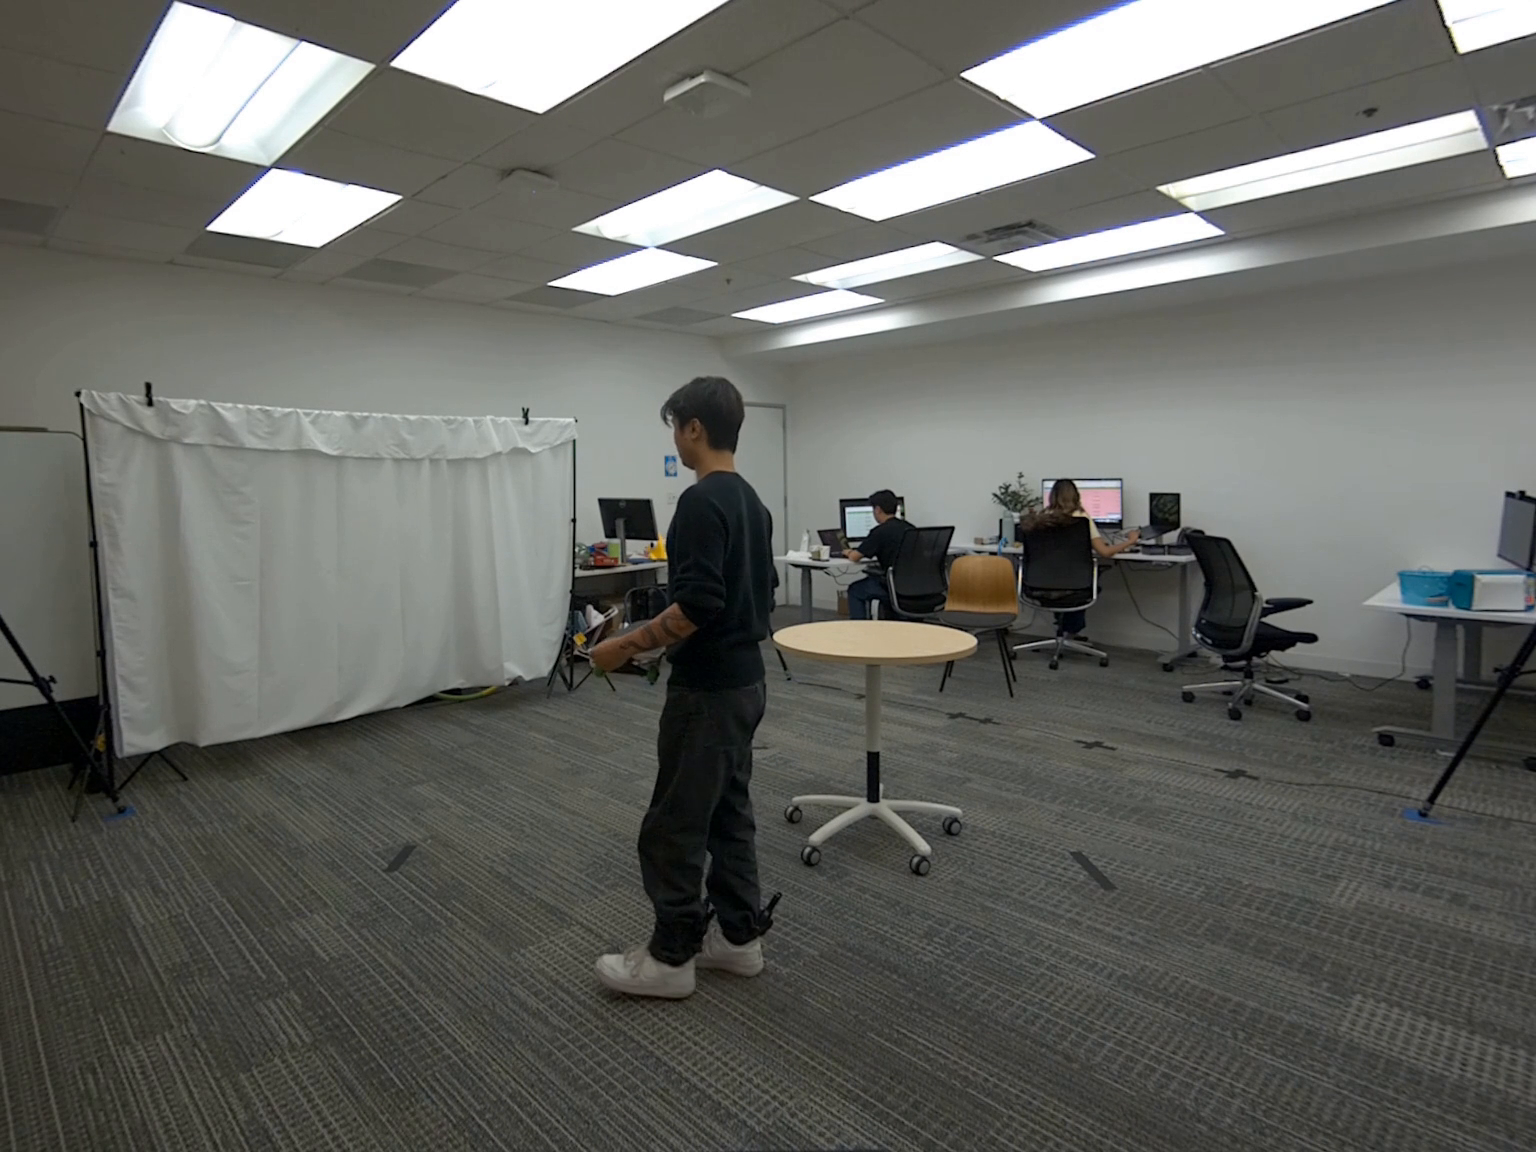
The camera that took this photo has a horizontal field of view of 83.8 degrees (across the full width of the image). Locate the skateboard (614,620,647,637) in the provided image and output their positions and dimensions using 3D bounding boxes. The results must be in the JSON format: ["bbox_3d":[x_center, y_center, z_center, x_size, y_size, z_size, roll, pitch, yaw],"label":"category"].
[{"bbox_3d":[-0.396,0.237,2.628,0.194,0.110,0.781,5,3,4],"label":"skateboard"}]
